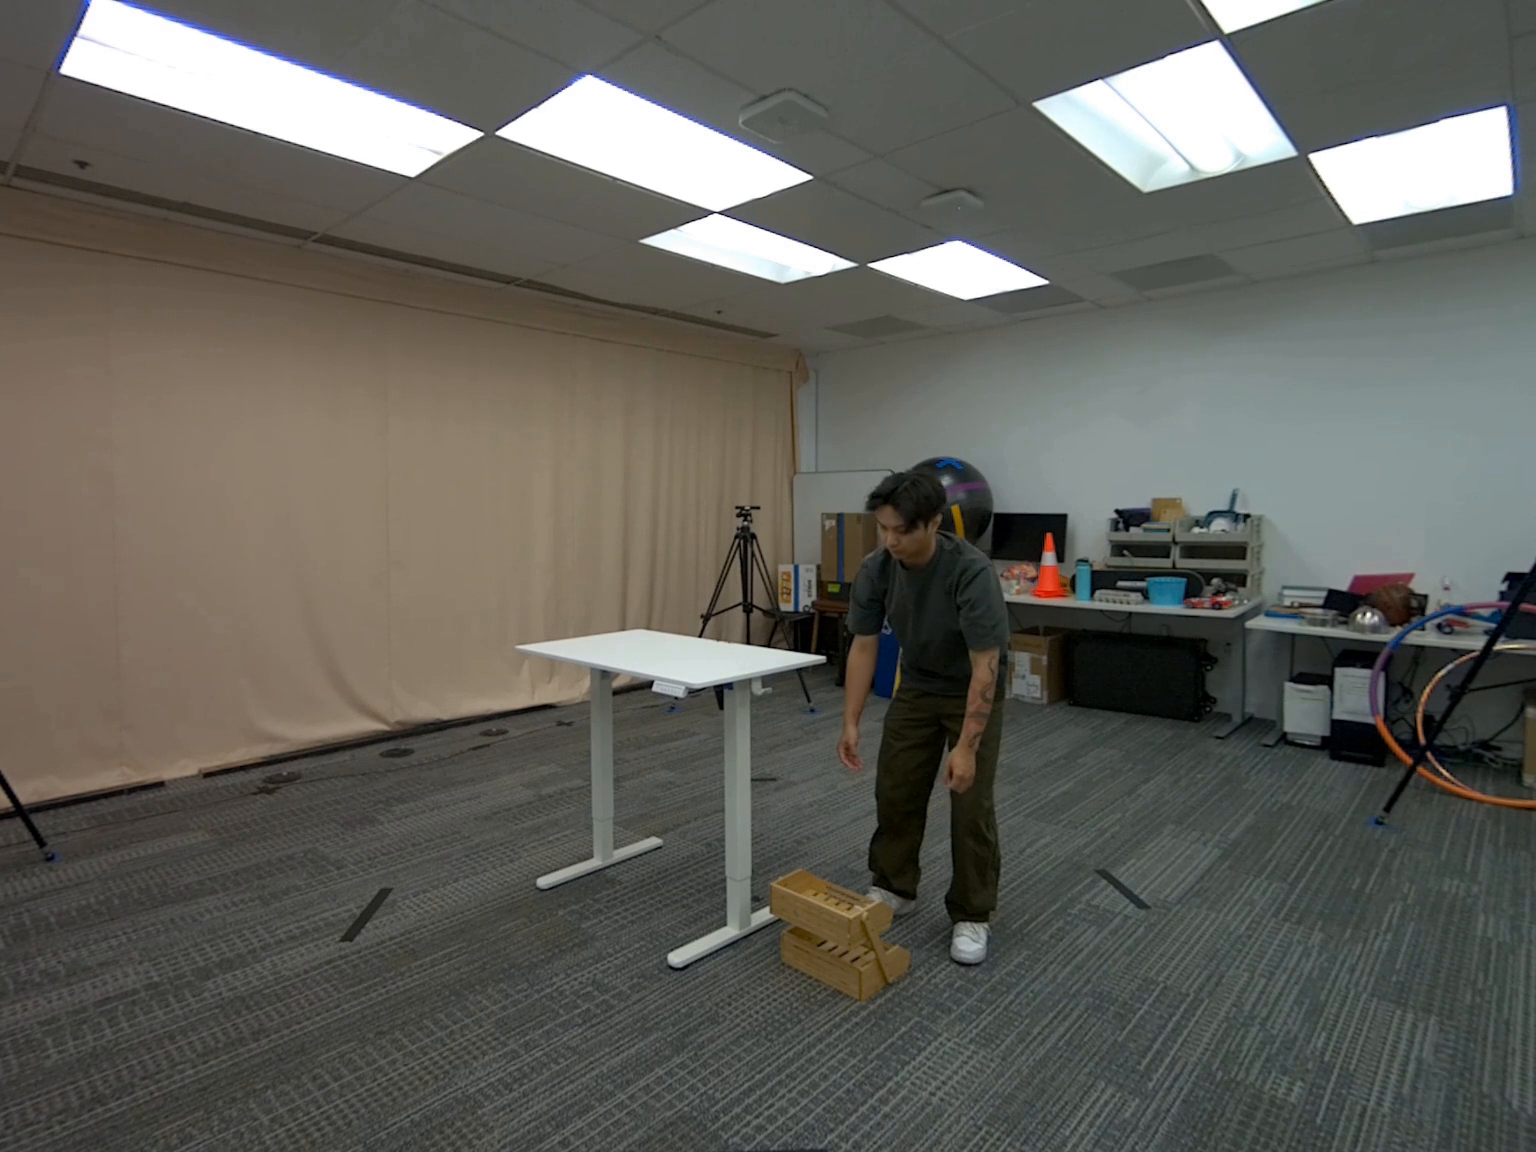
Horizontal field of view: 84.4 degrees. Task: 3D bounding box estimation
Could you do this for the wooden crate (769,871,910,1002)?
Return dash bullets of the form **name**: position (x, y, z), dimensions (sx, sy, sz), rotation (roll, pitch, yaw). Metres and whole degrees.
- **wooden crate**: position (0.228, 1.045, 2.530), dimensions (0.335, 0.272, 0.293), rotation (4, 7, 44)
